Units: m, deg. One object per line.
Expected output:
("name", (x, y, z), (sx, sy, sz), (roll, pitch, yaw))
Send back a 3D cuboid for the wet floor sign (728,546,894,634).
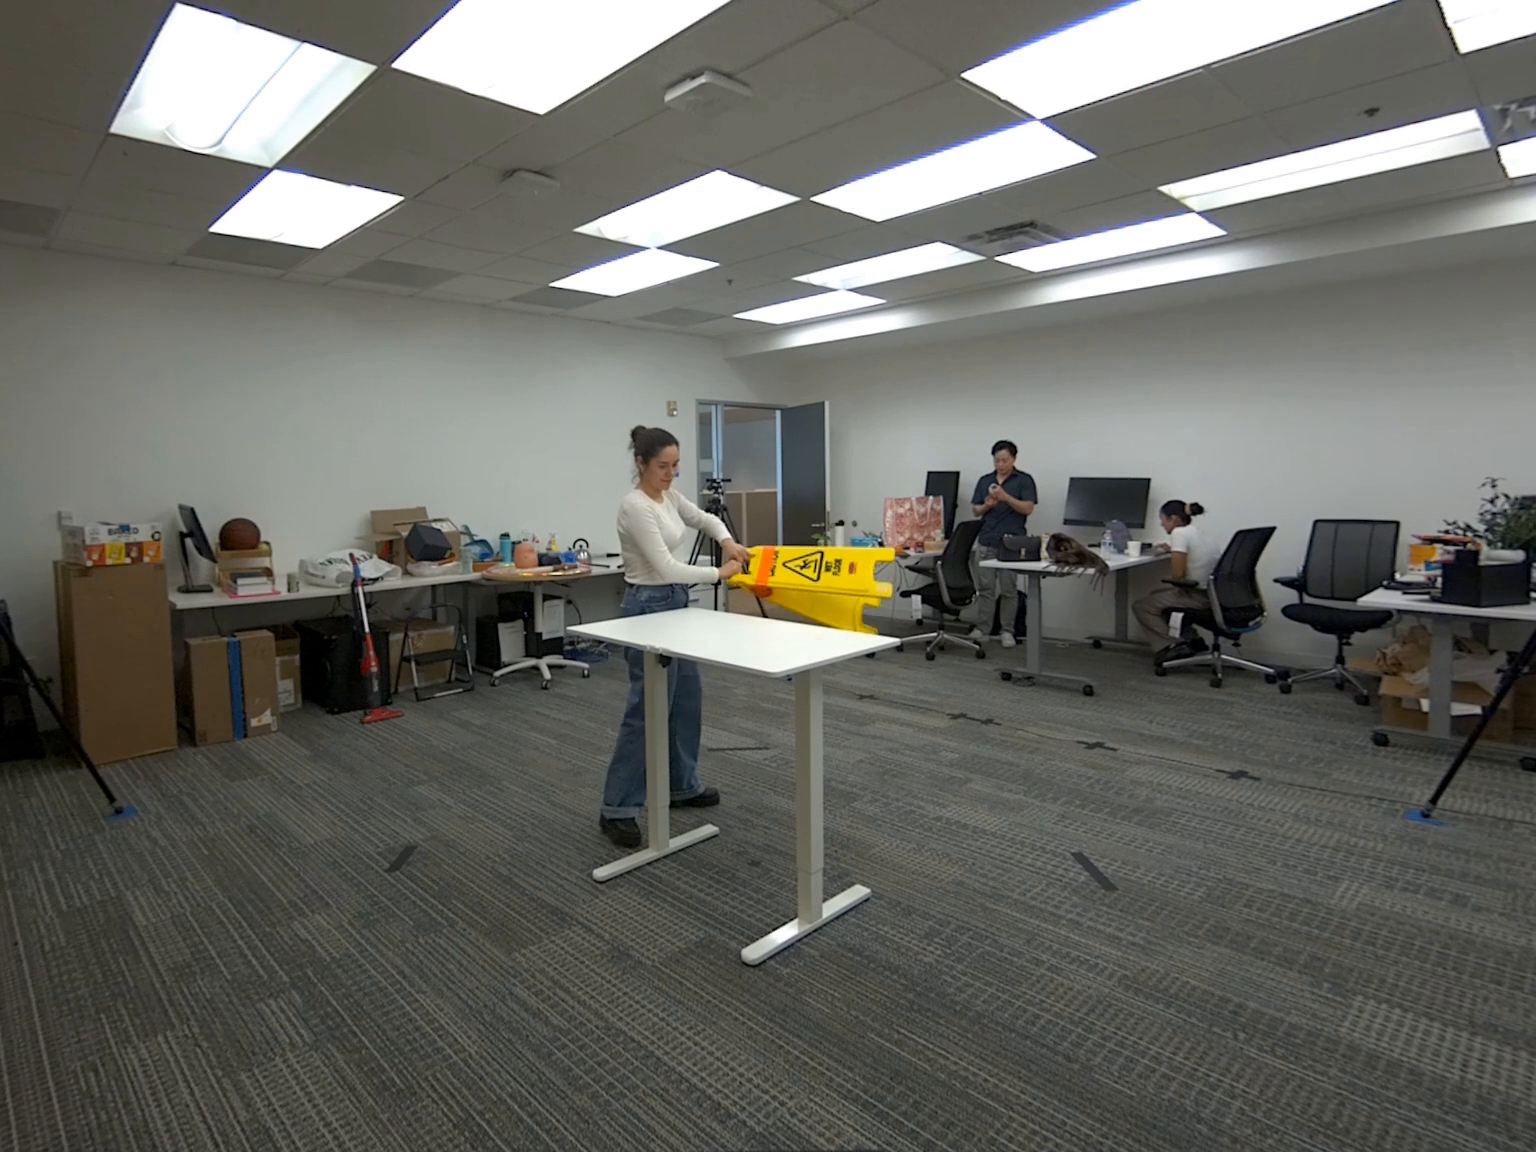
("wet floor sign", (0.148, 0.029, 3.471), (0.650, 0.283, 0.287), (12, 44, 5))
